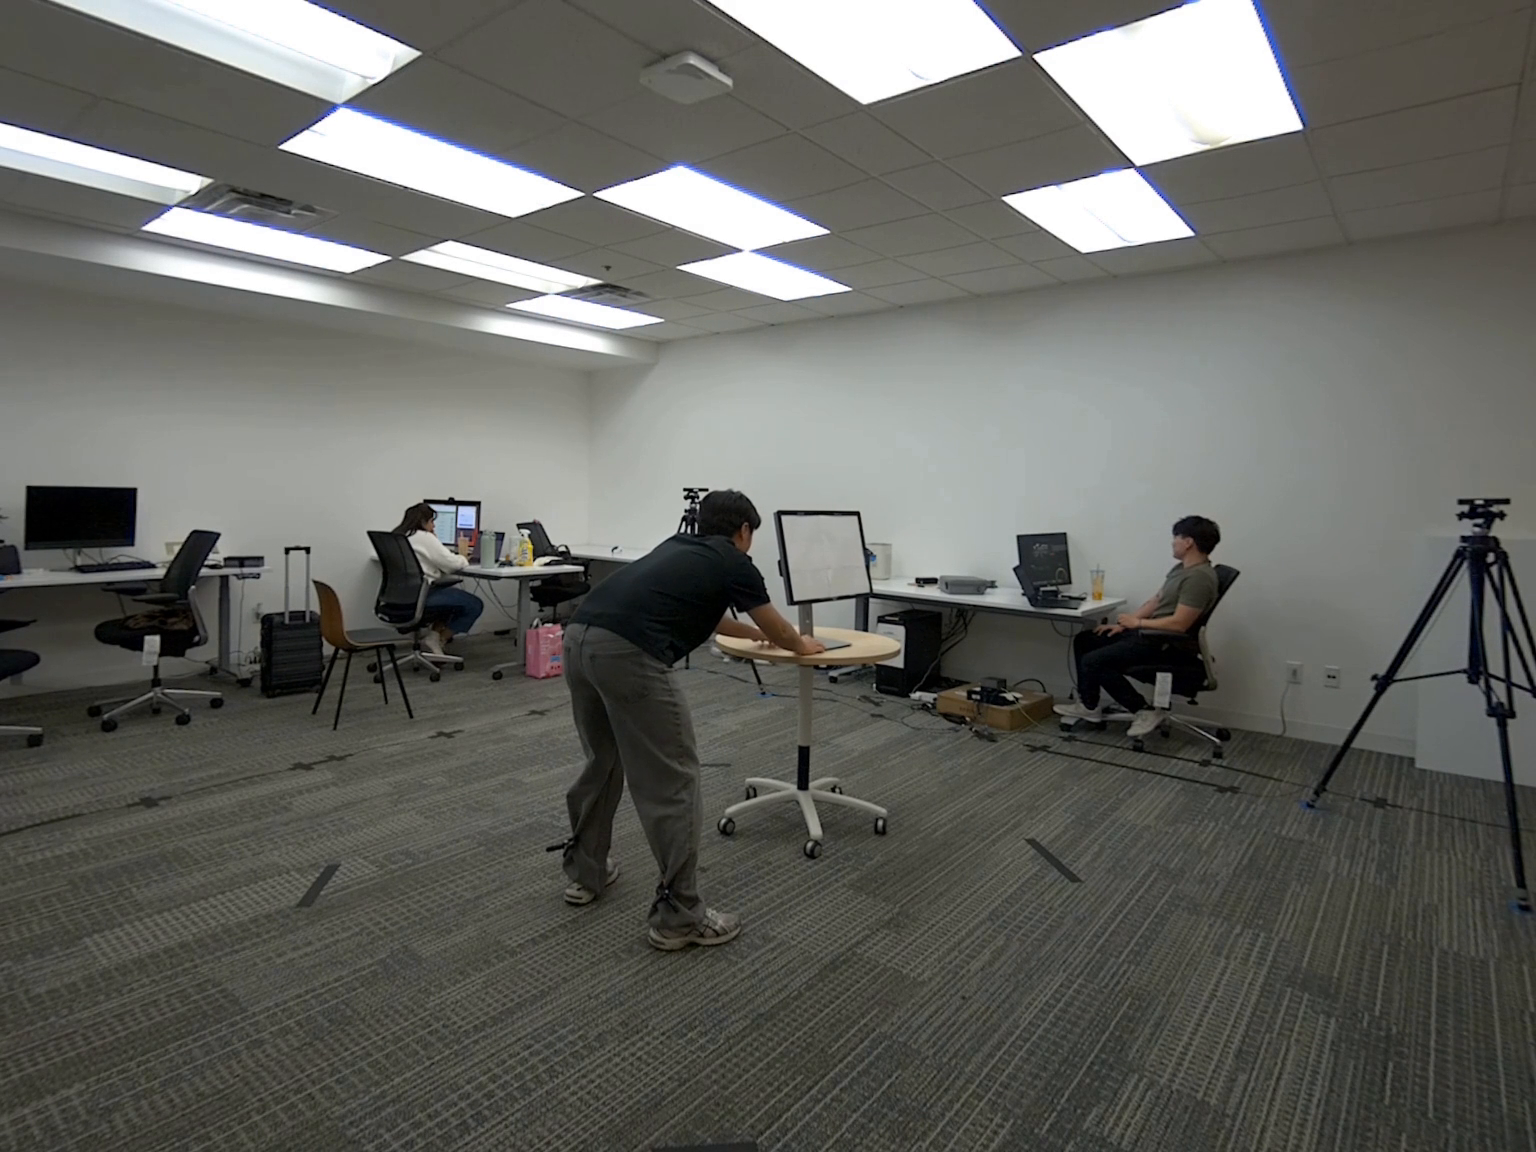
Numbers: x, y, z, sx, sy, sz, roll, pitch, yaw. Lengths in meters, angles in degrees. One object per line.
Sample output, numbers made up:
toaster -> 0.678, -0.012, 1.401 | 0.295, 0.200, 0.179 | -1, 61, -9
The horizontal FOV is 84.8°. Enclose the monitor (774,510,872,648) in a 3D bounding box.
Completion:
monitor -> 0.177, 0.007, 3.442 | 0.216, 0.555, 0.549 | -5, -1, 40
